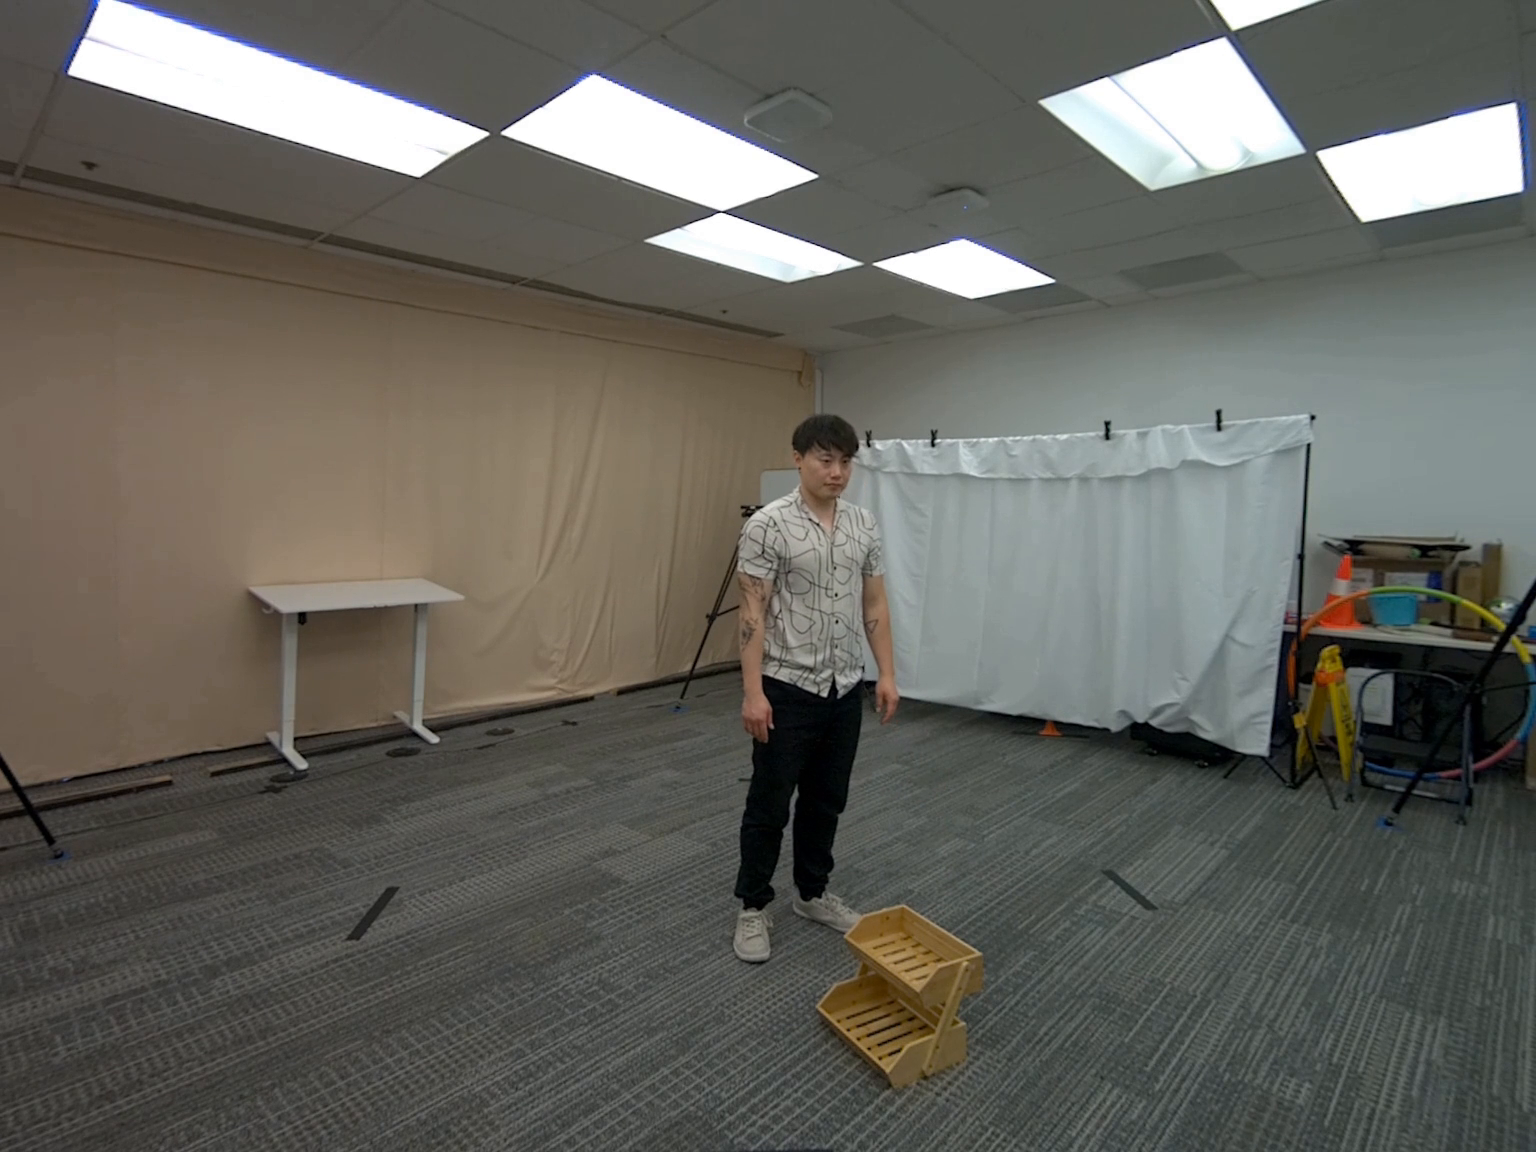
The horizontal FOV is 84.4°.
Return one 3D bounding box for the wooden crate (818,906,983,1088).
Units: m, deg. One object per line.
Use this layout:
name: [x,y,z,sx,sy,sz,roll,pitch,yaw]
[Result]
wooden crate: [0.342,1.078,2.189,0.294,0.273,0.334,-2,4,-31]
